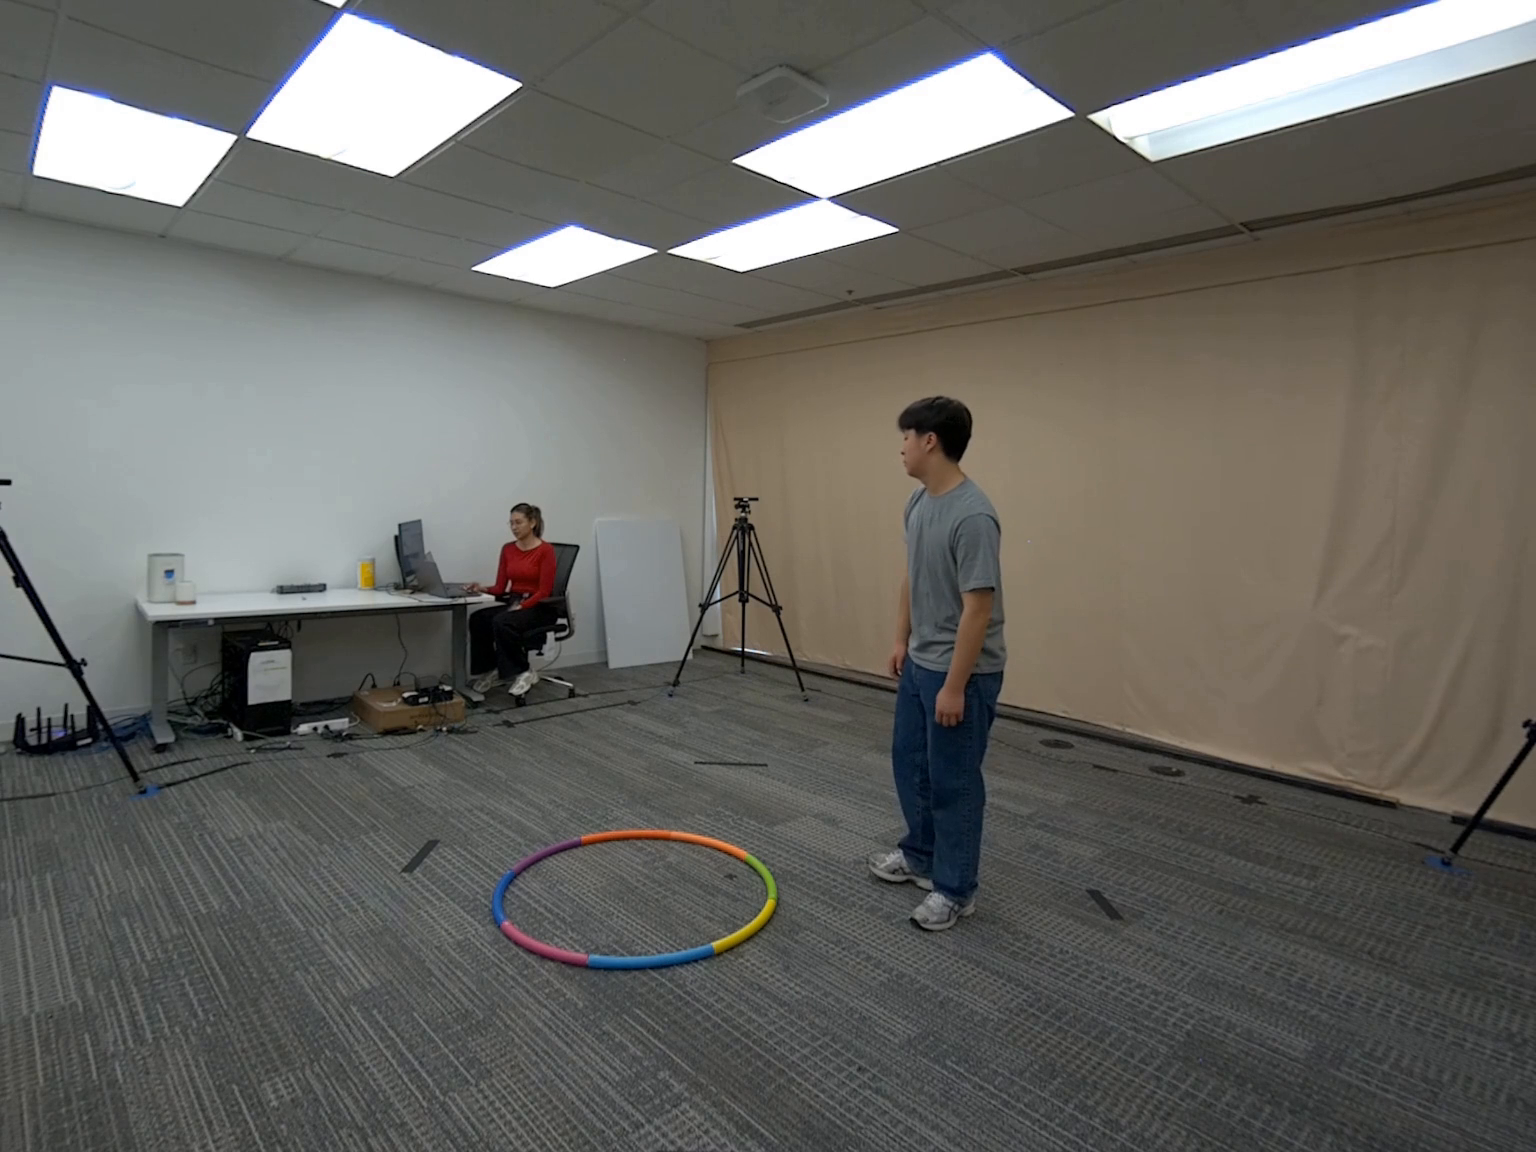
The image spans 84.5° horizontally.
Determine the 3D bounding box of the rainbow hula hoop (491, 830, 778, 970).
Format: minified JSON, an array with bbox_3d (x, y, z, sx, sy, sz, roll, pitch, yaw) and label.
[{"bbox_3d":[-0.465,1.083,2.954,0.978,0.035,0.982,1,5,-1],"label":"rainbow hula hoop"}]
